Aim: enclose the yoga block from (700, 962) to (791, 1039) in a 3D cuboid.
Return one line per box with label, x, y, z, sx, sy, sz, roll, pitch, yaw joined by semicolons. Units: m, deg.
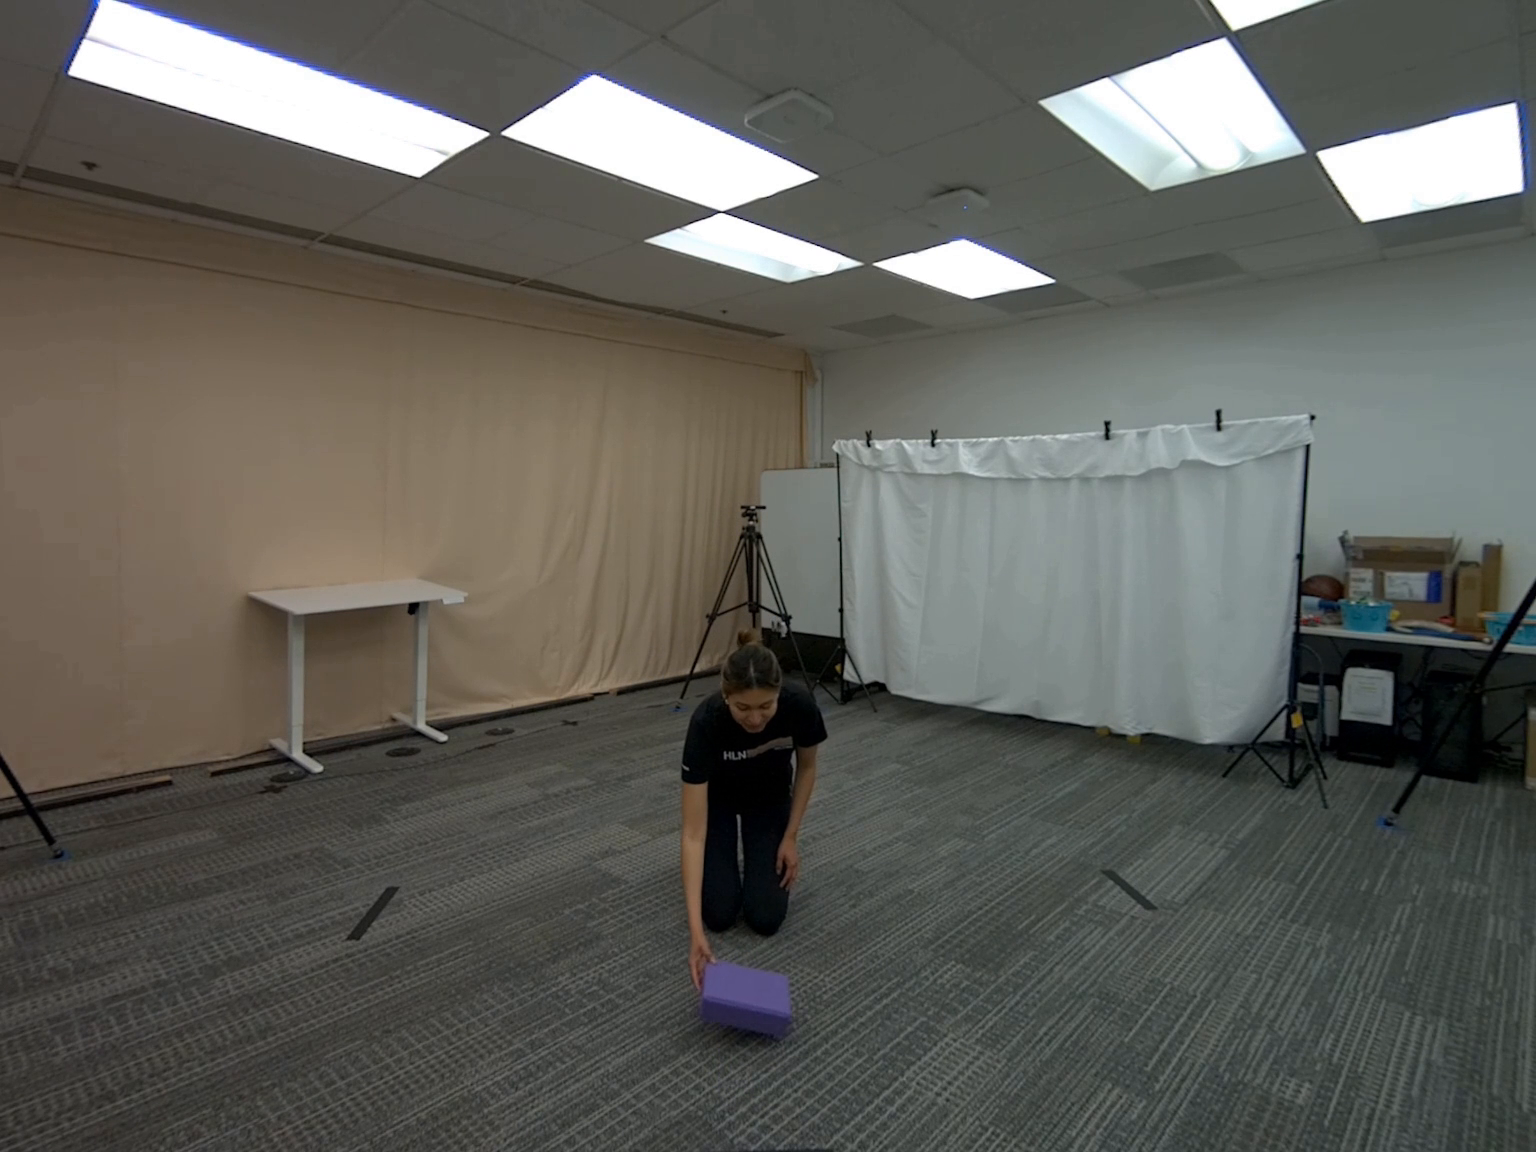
yoga block;-0.056;1.099;2.214;0.229;0.076;0.150;9;15;0
